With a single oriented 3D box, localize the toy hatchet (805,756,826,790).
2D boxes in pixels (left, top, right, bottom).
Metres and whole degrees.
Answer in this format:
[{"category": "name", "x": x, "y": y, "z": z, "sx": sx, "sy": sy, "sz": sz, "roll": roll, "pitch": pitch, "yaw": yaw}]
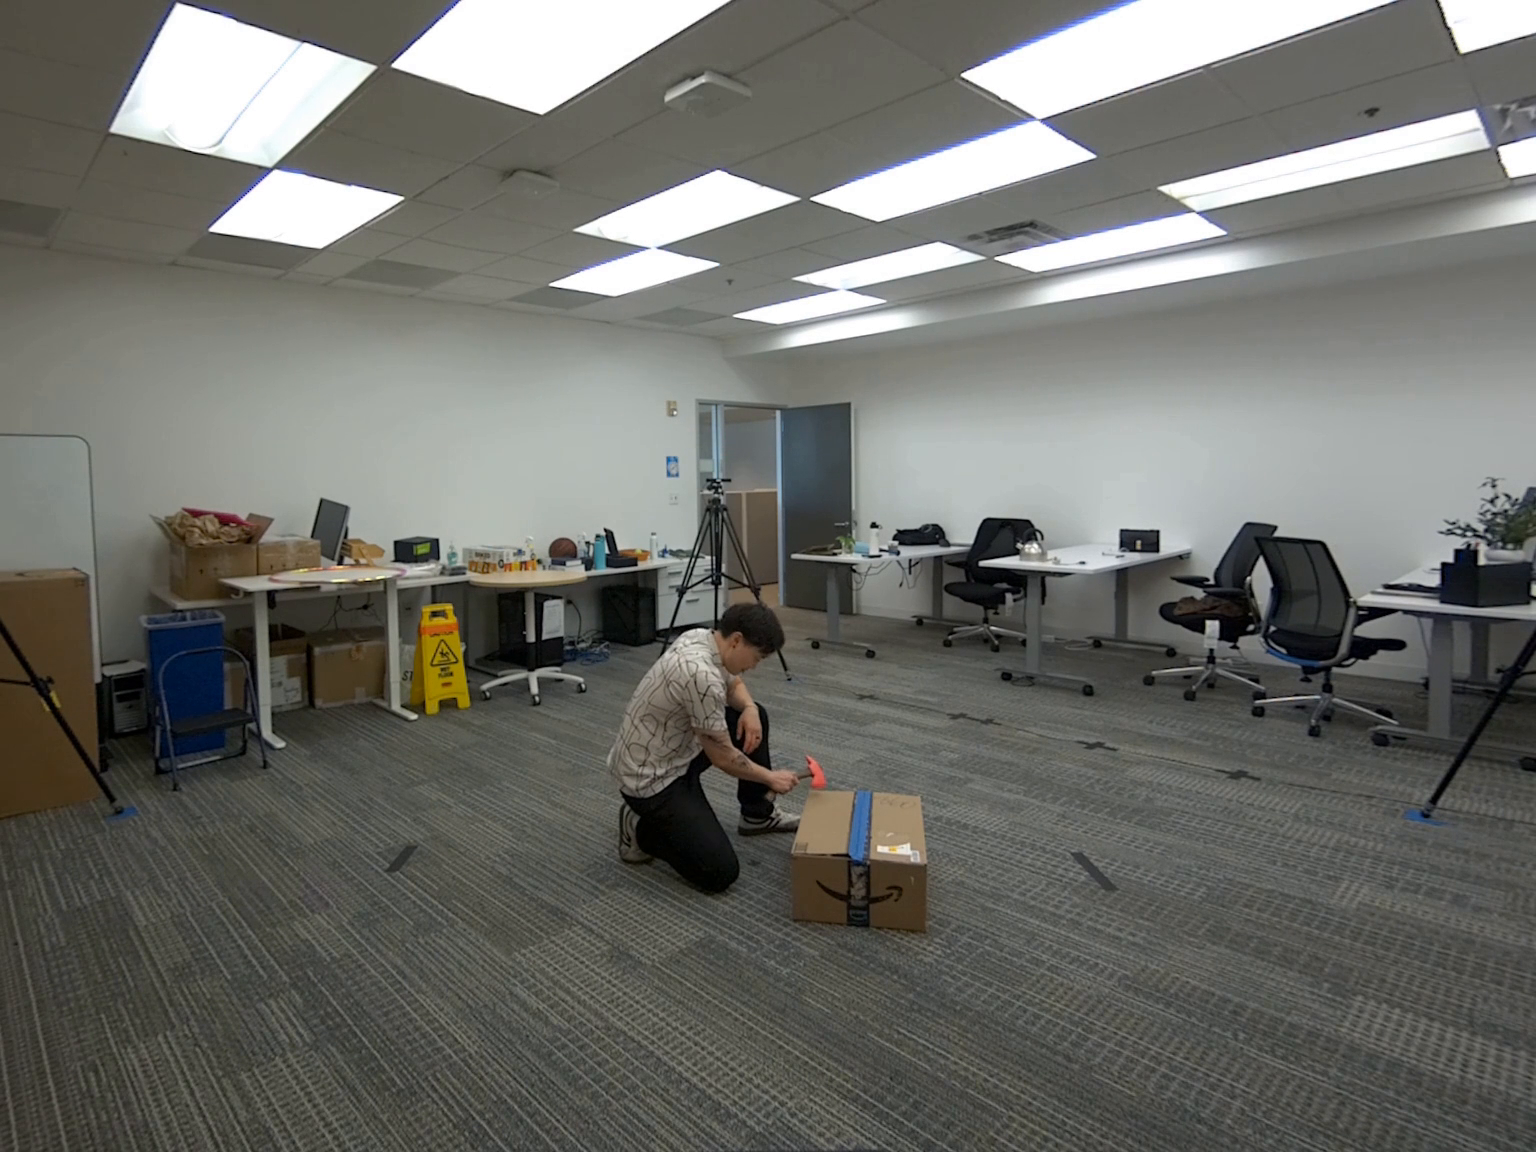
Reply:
[{"category": "toy hatchet", "x": 0.112, "y": 0.768, "z": 3.131, "sx": 0.134, "sy": 0.029, "sz": 0.267, "roll": 43, "pitch": 51, "yaw": 19}]
